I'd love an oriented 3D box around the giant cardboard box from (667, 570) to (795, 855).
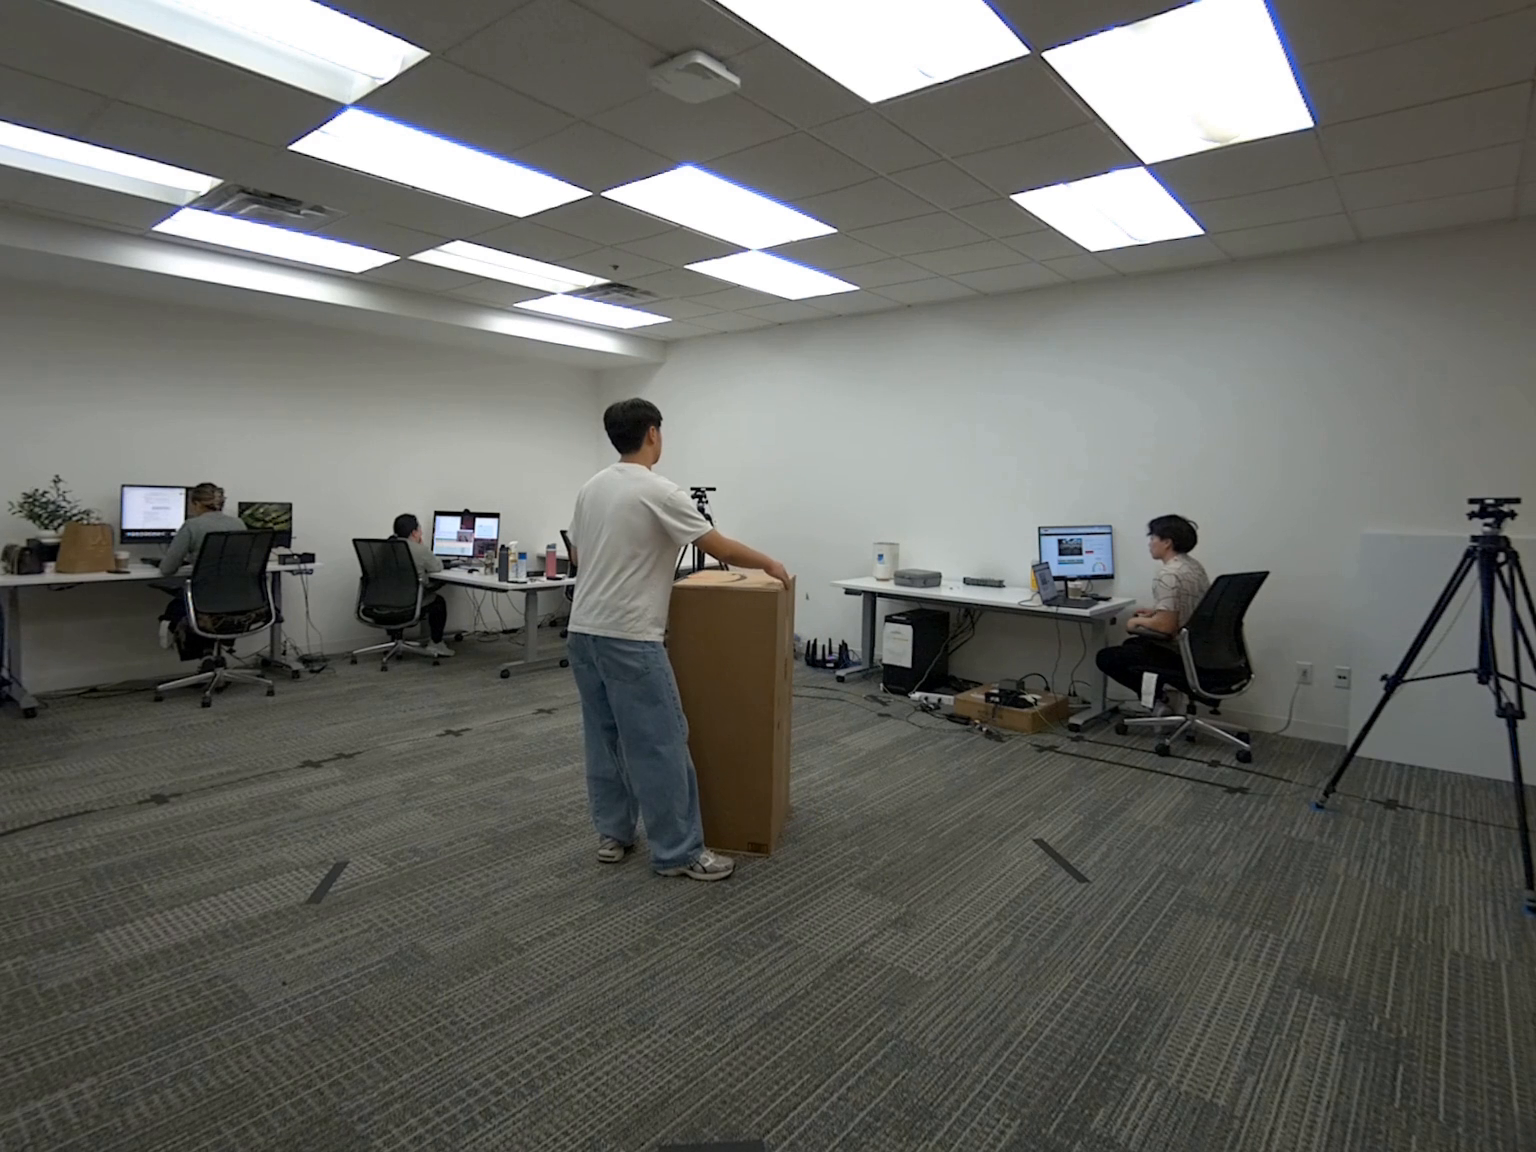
[{"bbox_3d":[-0.145,0.516,3.510,0.432,1.022,0.572,2,4,11],"label":"giant cardboard box"}]
